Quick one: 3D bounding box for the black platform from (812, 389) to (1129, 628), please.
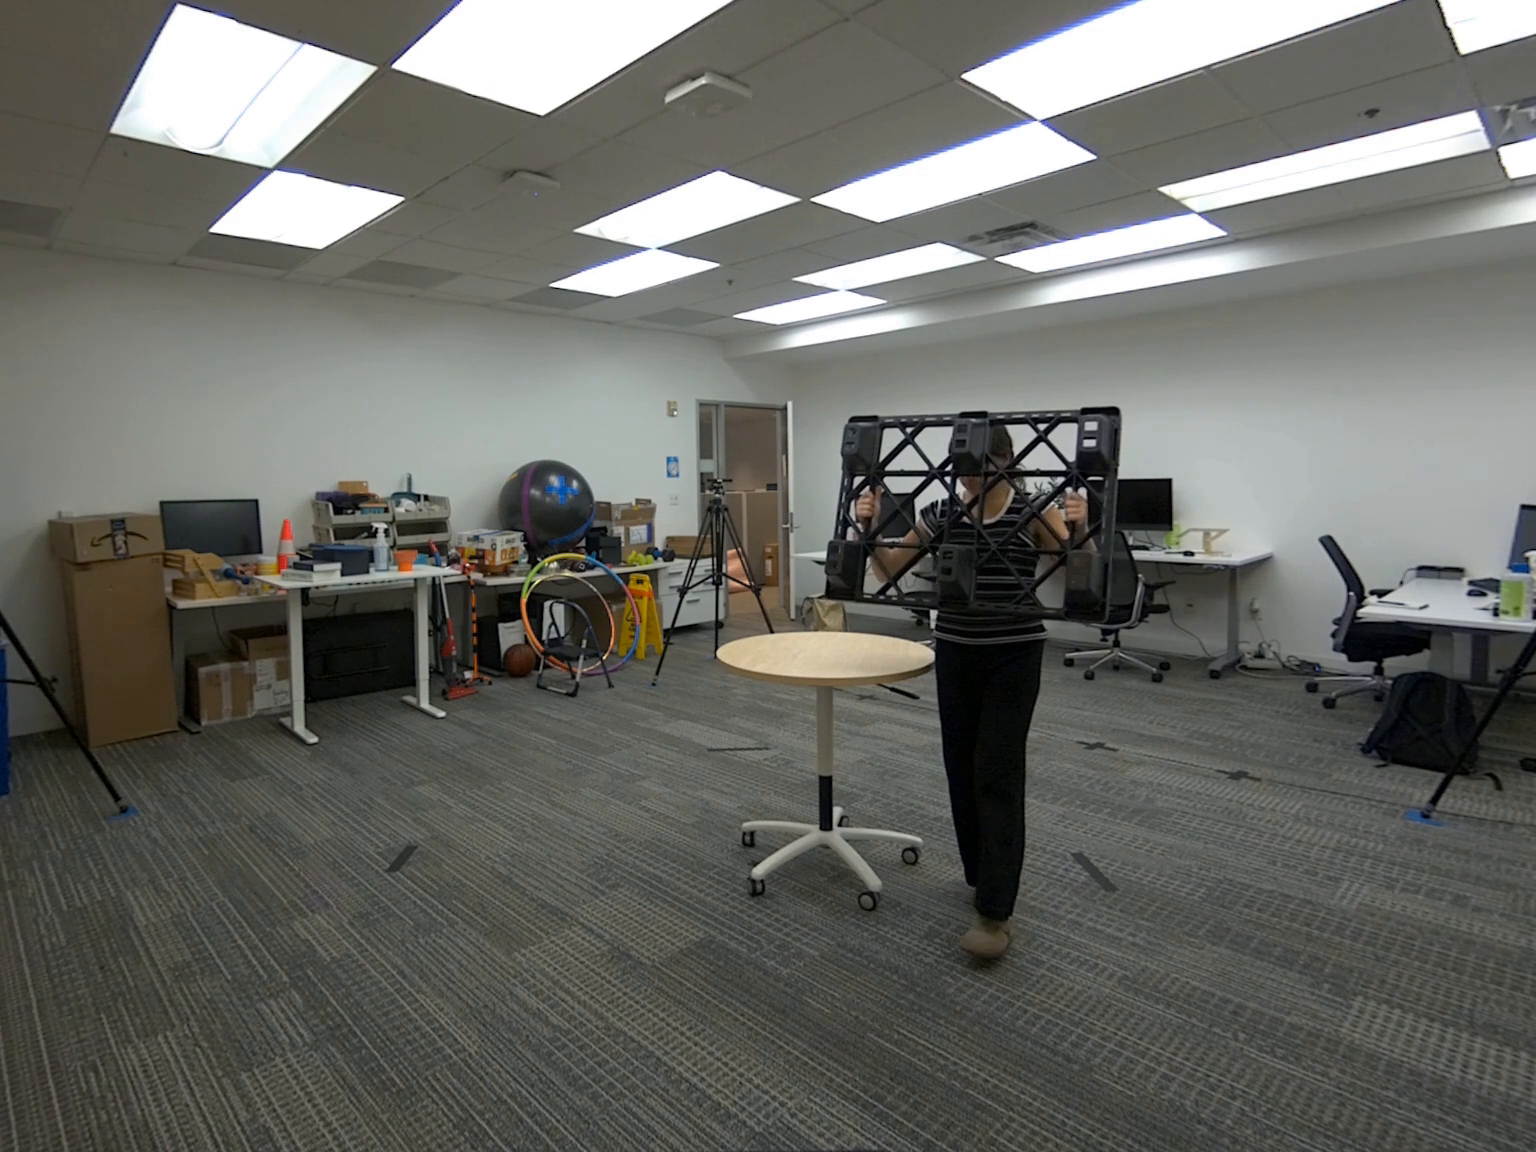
[{"bbox_3d":[0.561,-0.204,2.451,0.827,0.609,0.138,4,-10,30],"label":"black platform"}]
